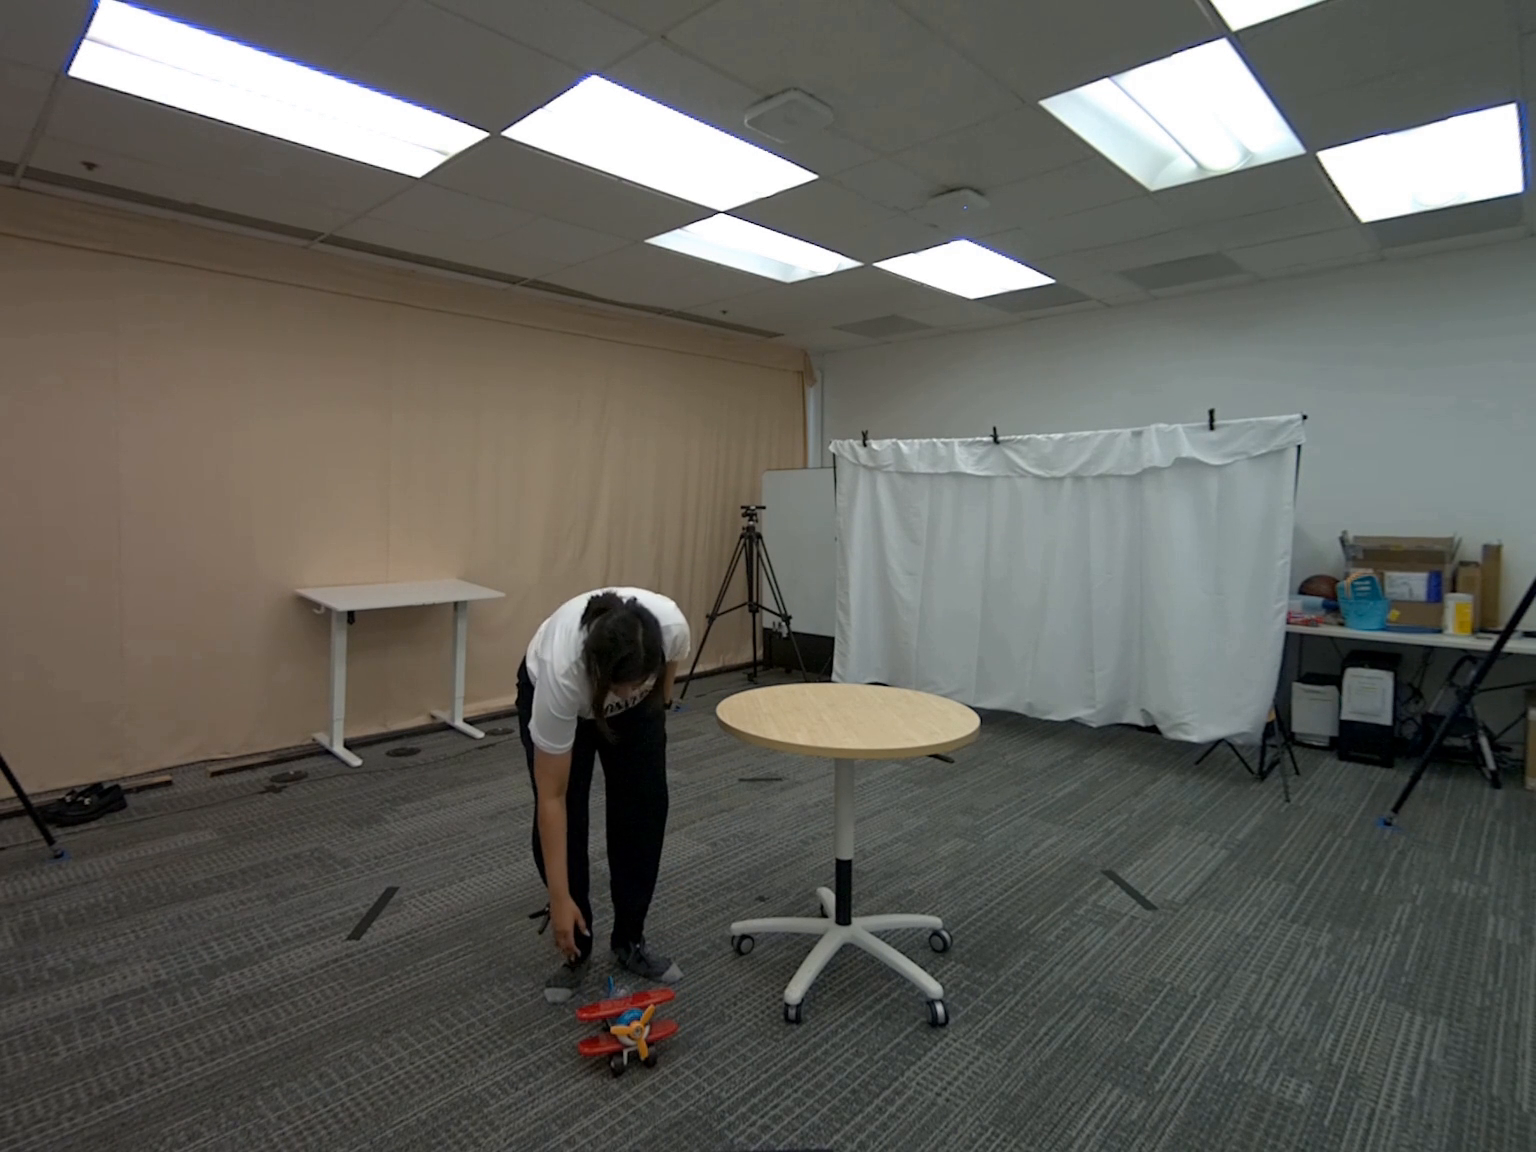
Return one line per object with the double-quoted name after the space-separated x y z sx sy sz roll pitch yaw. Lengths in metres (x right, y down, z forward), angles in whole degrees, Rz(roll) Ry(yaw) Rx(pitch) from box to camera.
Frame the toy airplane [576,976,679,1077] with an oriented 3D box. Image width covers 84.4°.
-0.383 1.145 2.142 0.268 0.156 0.244 4 7 38 "toy airplane"
